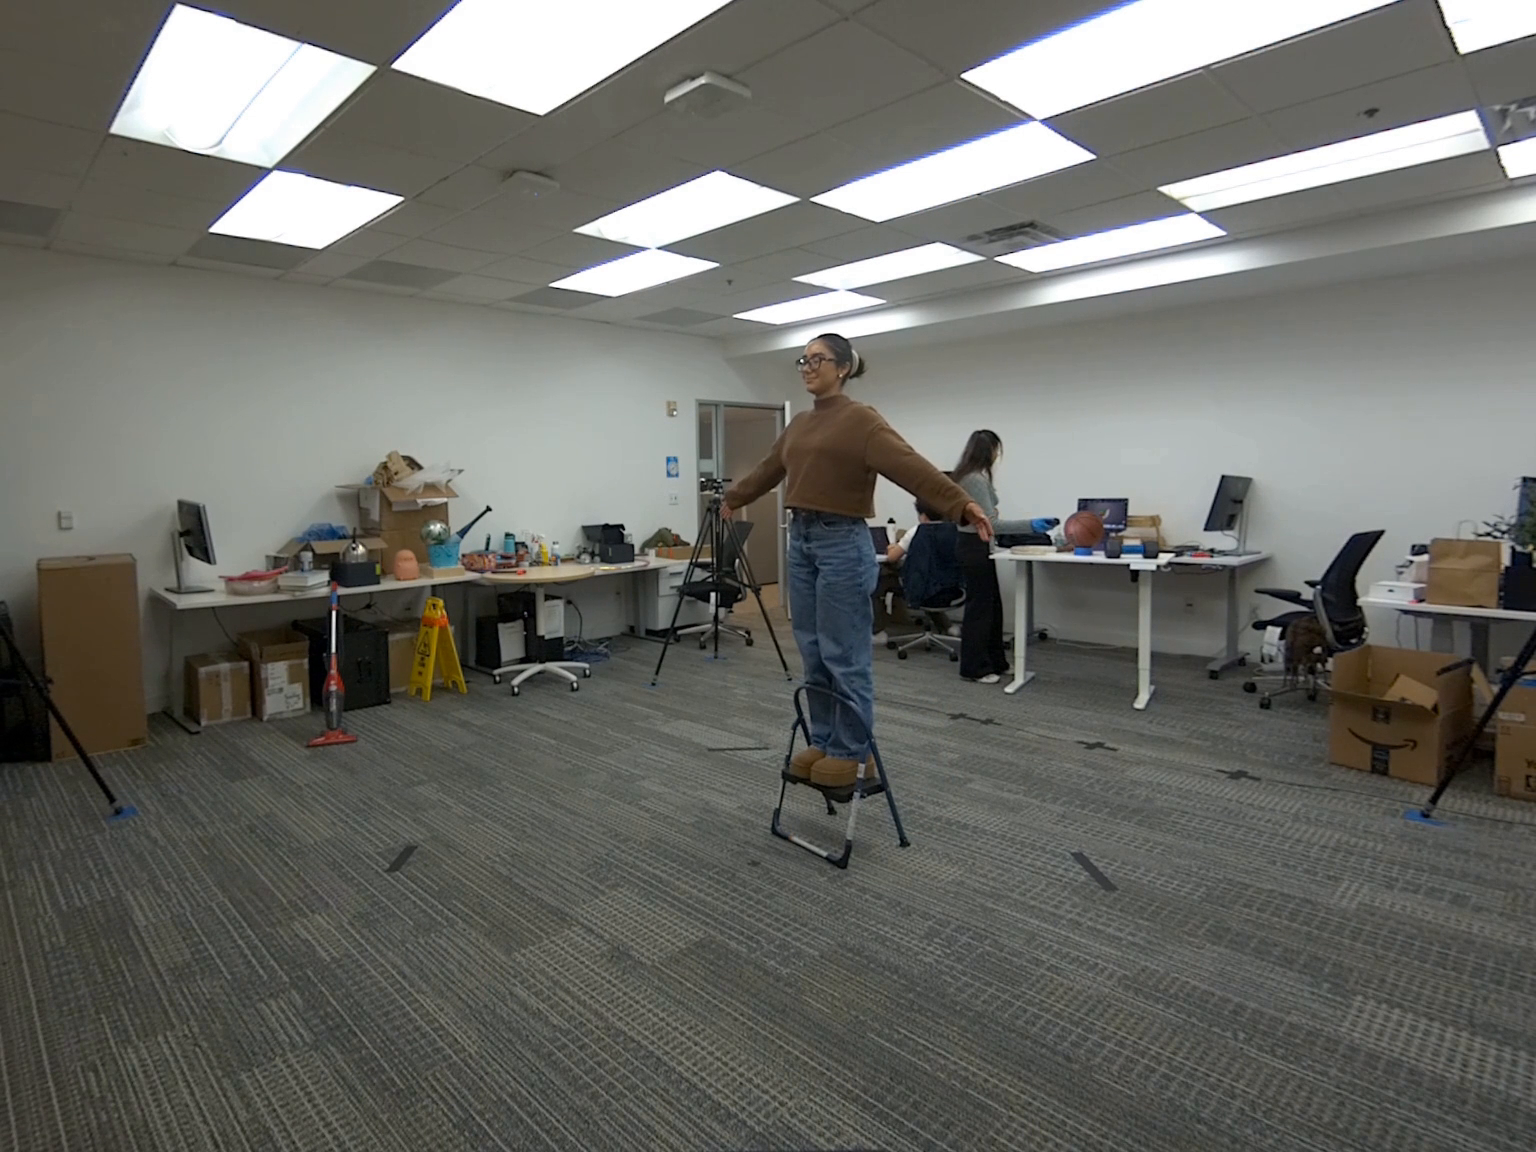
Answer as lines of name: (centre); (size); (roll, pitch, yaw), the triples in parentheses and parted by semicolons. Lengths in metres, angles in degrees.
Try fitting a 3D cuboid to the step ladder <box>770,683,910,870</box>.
step ladder: (0.266, 0.718, 3.286); (0.340, 0.604, 0.444); (-5, 6, -39)
